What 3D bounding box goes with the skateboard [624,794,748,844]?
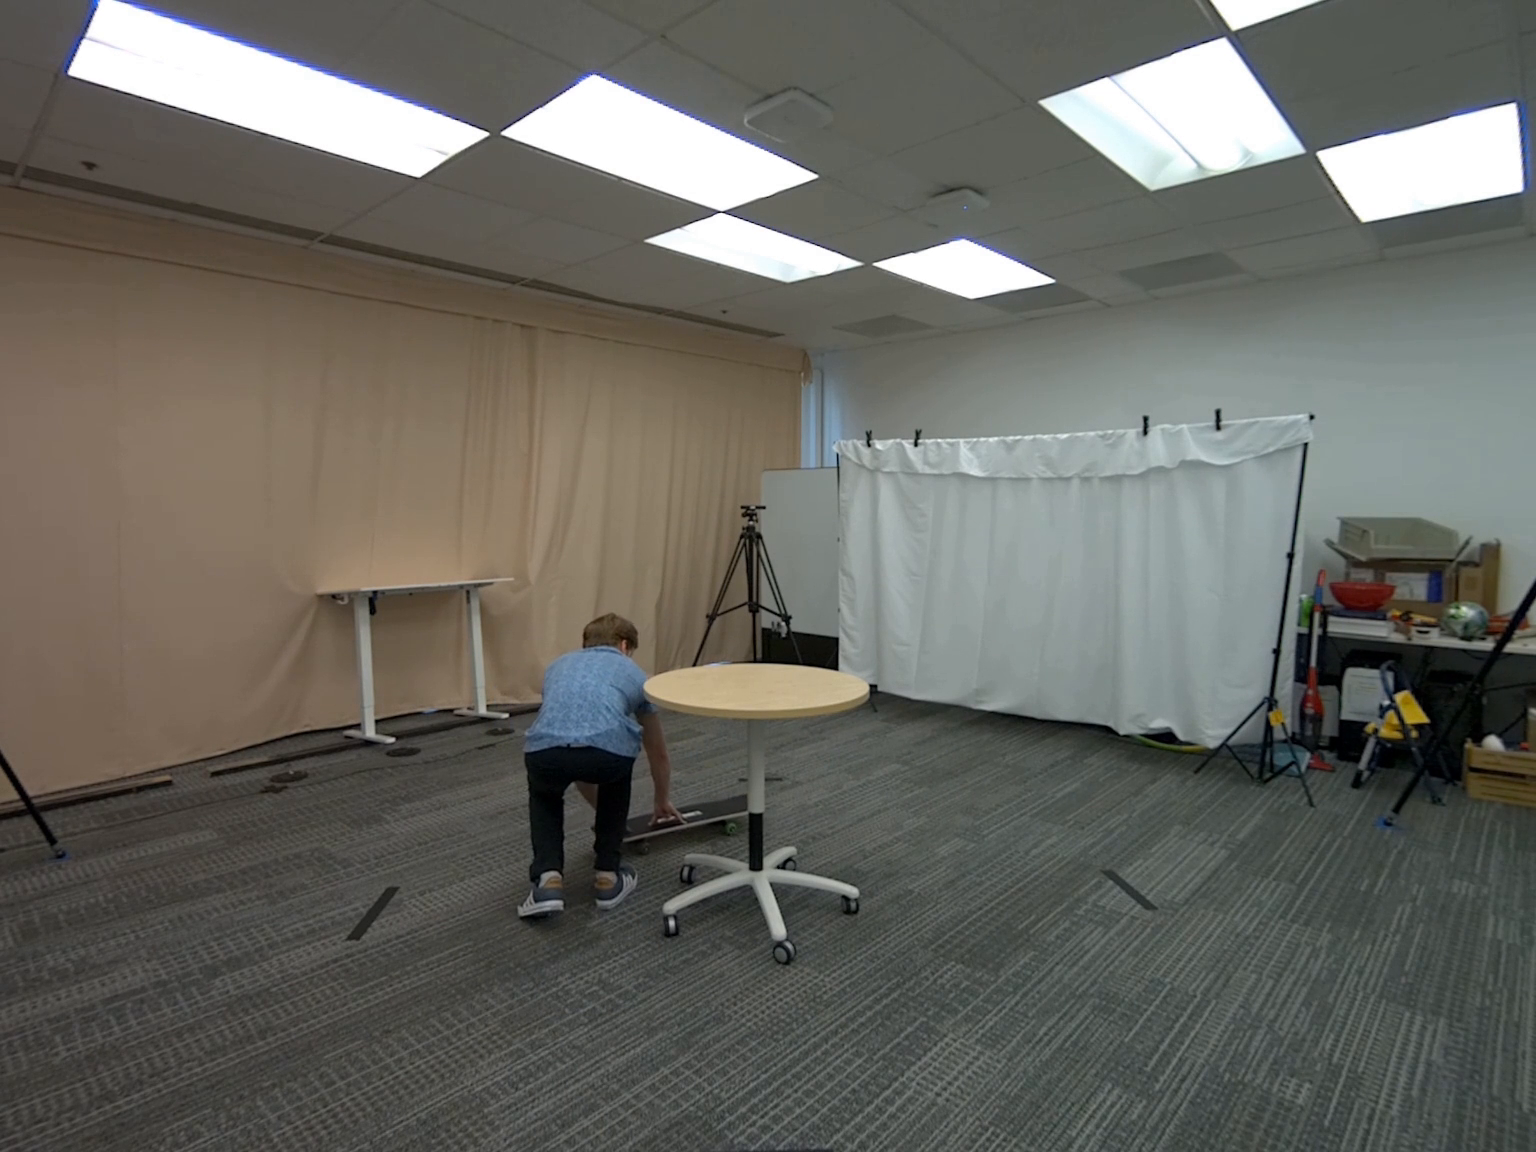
[{"bbox_3d":[-0.373,1.048,3.540,0.765,0.110,0.199,-4,5,-29],"label":"skateboard"}]
